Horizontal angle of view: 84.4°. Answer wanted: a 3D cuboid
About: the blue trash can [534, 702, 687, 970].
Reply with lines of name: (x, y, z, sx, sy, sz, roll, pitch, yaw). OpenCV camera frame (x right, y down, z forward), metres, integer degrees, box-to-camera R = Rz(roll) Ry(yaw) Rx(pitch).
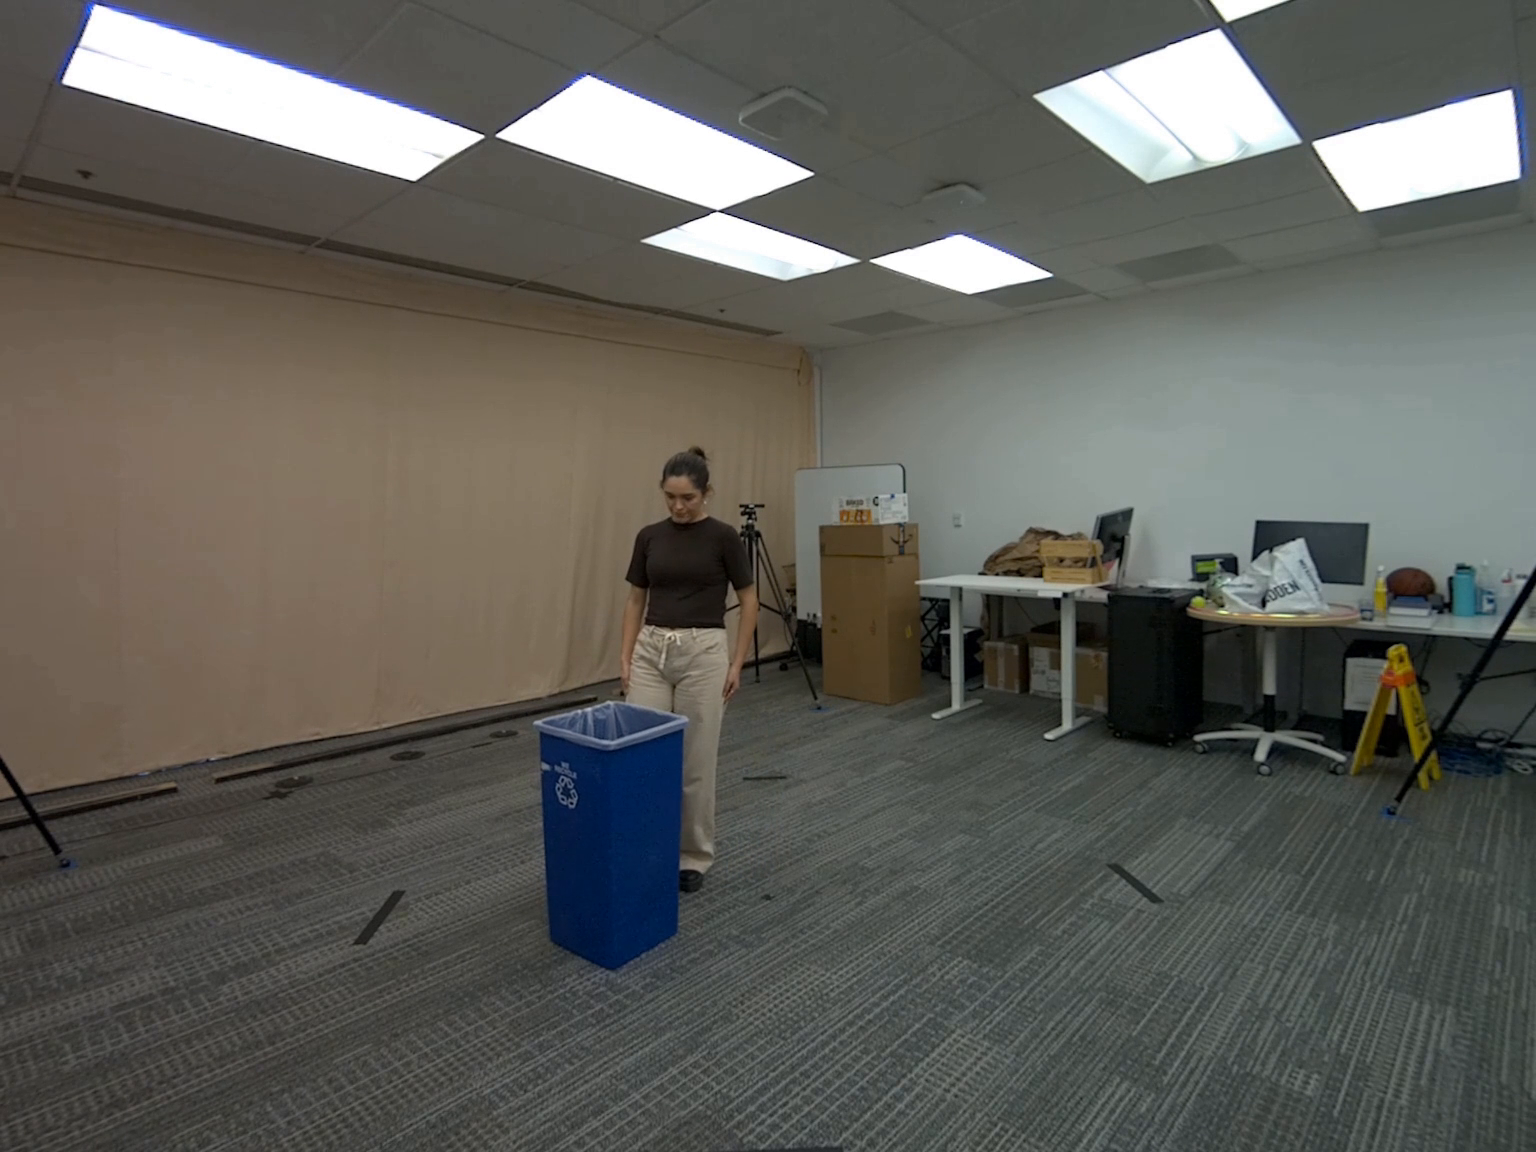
blue trash can: (-0.503, 0.812, 2.701, 0.390, 0.712, 0.363, 3, 4, 38)
